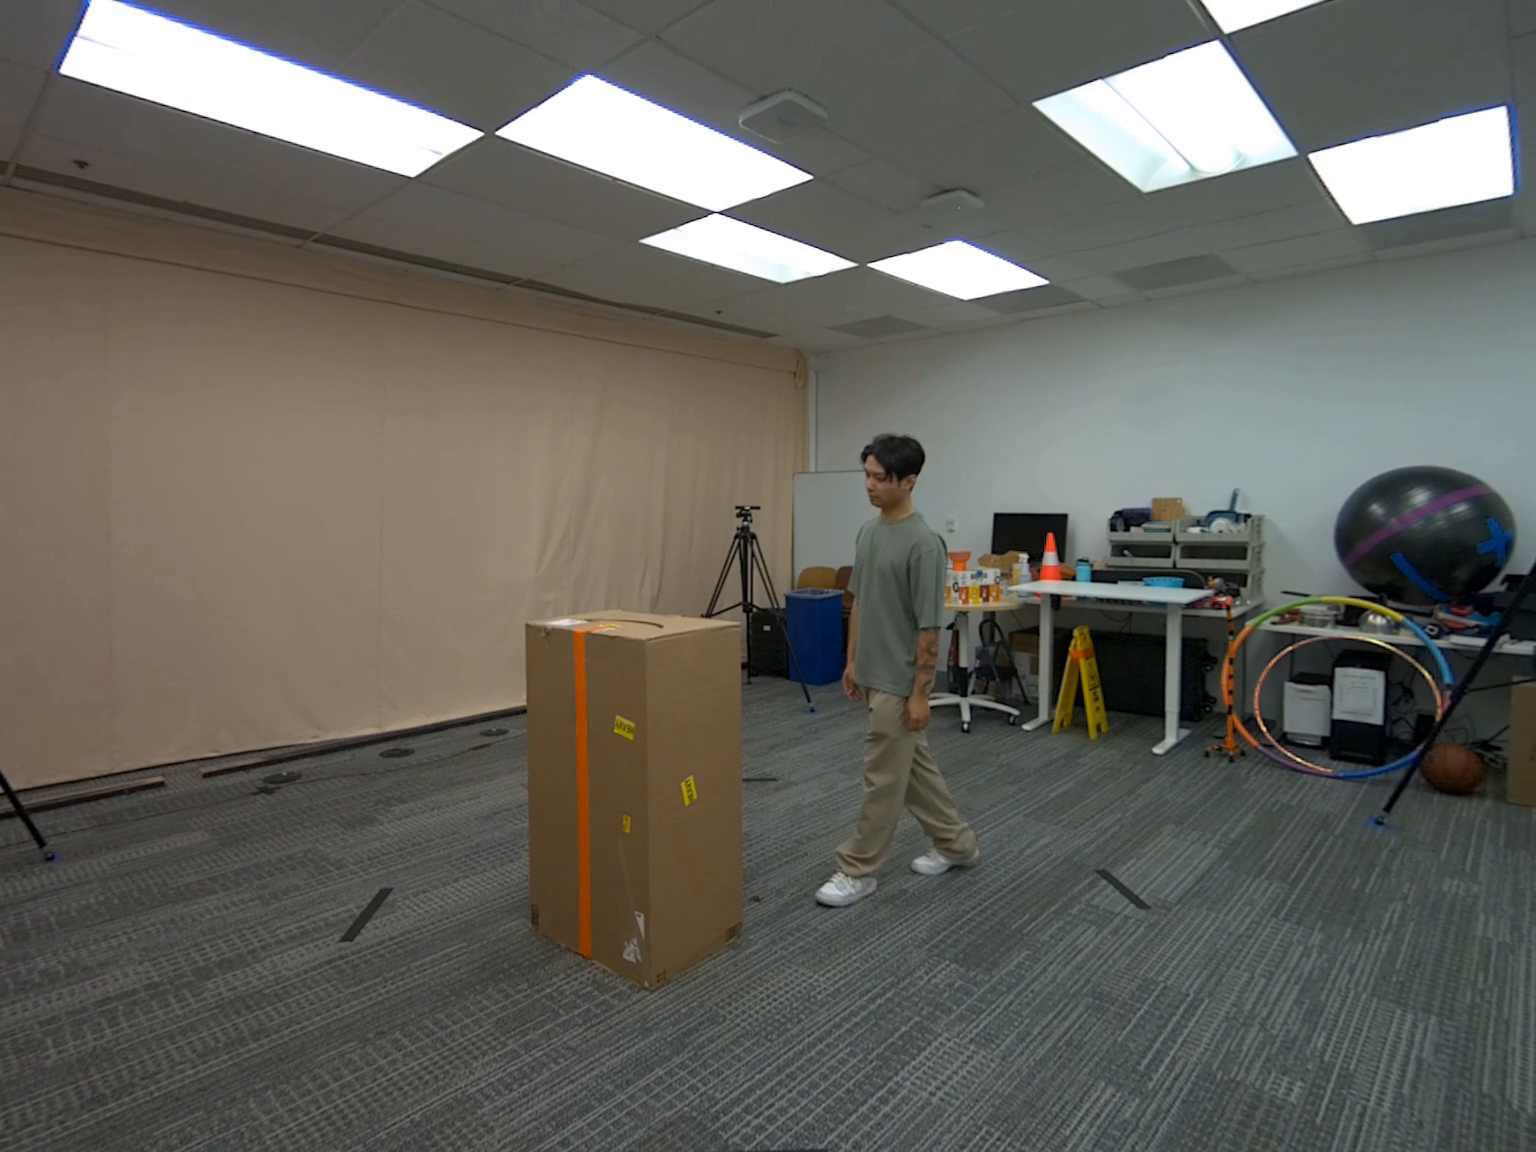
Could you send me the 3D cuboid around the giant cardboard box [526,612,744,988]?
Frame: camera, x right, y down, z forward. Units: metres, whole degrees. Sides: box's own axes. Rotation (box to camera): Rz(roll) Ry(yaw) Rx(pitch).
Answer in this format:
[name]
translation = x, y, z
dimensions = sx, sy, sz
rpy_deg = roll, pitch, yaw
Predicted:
[giant cardboard box]
translation = -0.440, 0.661, 2.726
dimensions = 0.596, 1.024, 0.413
rpy_deg = 2, 4, 39
